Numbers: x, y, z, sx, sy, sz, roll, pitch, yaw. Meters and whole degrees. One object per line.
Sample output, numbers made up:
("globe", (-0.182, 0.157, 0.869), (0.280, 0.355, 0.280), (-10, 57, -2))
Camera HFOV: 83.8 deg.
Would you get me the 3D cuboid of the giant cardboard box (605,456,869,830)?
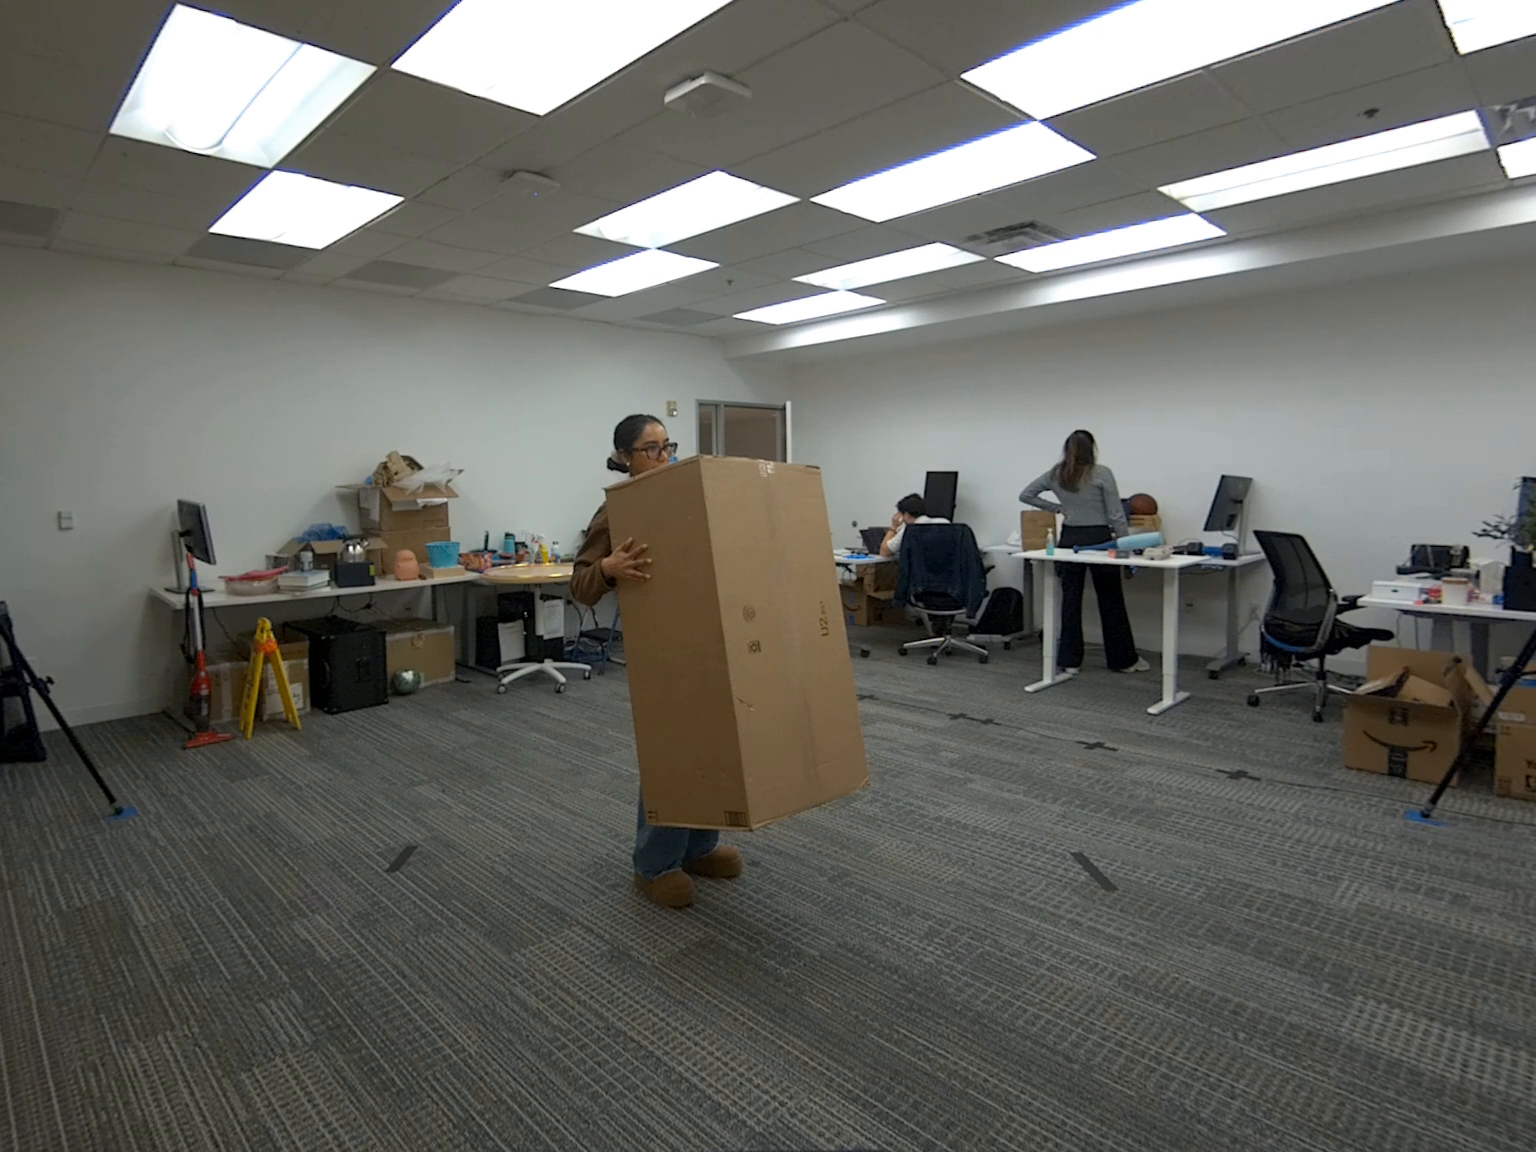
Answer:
("giant cardboard box", (-0.088, 0.192, 2.647), (0.435, 1.033, 0.561), (-14, -9, 41))
